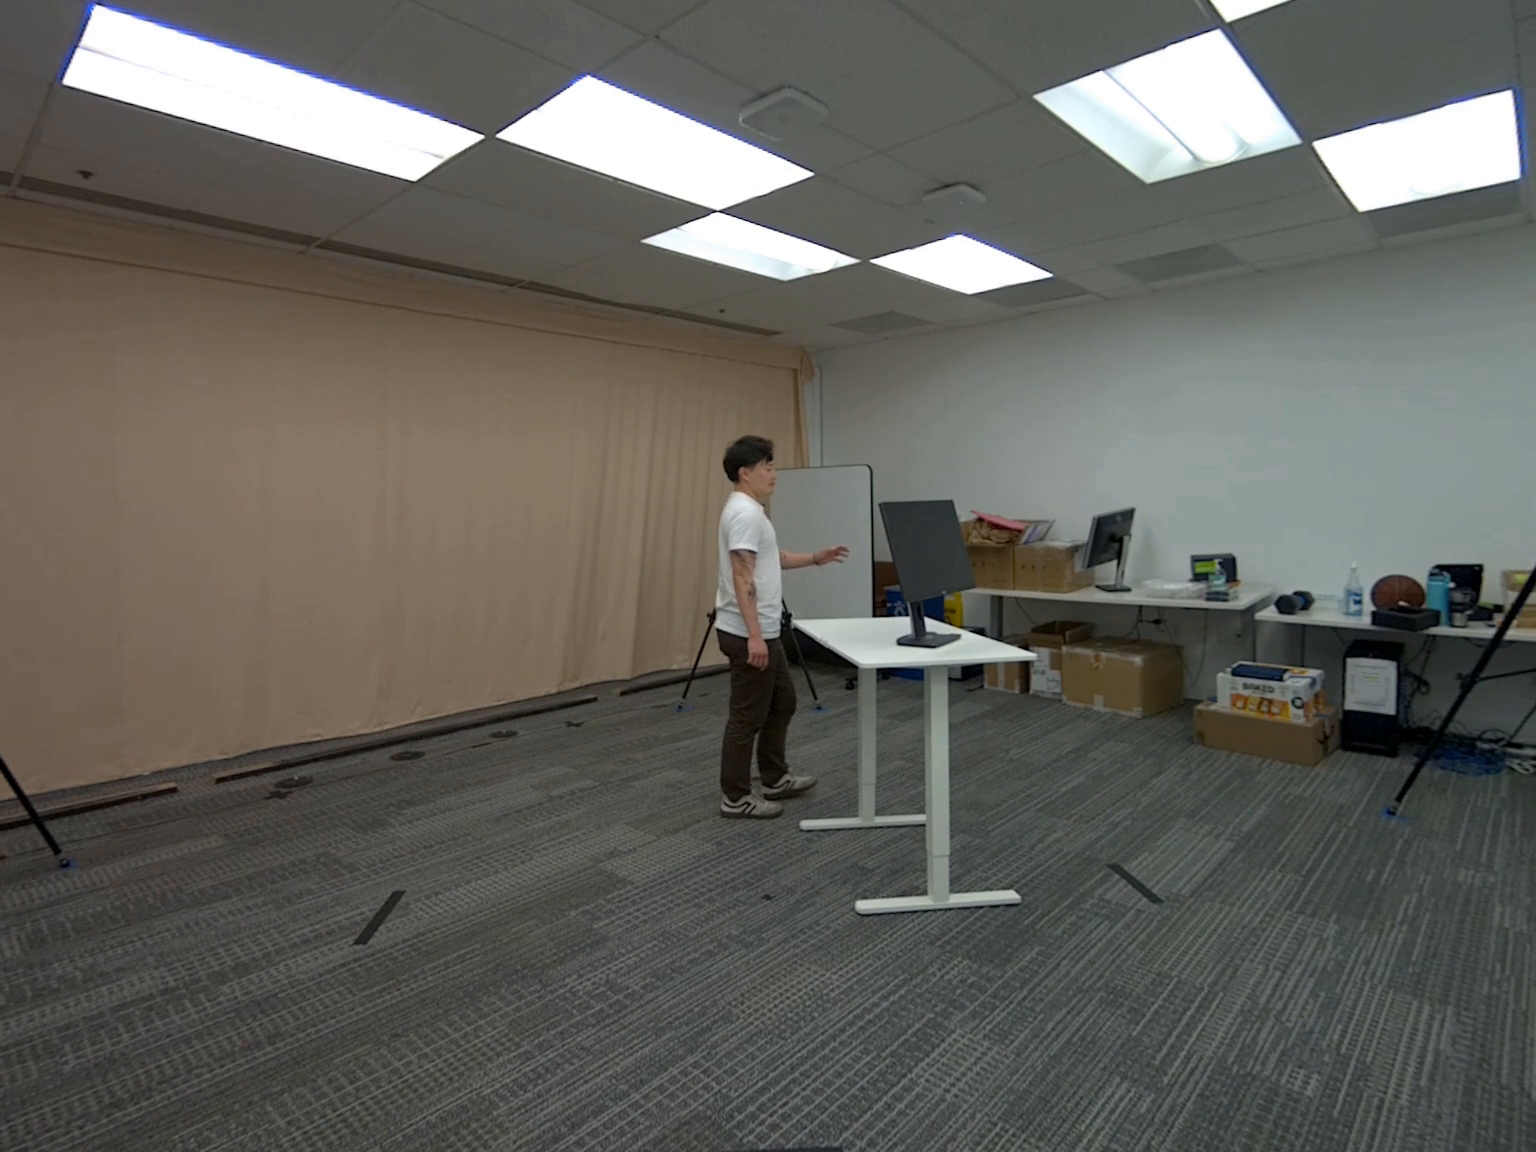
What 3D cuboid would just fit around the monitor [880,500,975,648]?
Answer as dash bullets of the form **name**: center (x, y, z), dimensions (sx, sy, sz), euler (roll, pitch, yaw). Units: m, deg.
- **monitor**: center (0.582, -0.012, 3.075), dimensions (0.193, 0.522, 0.523), euler (-1, 3, 37)
